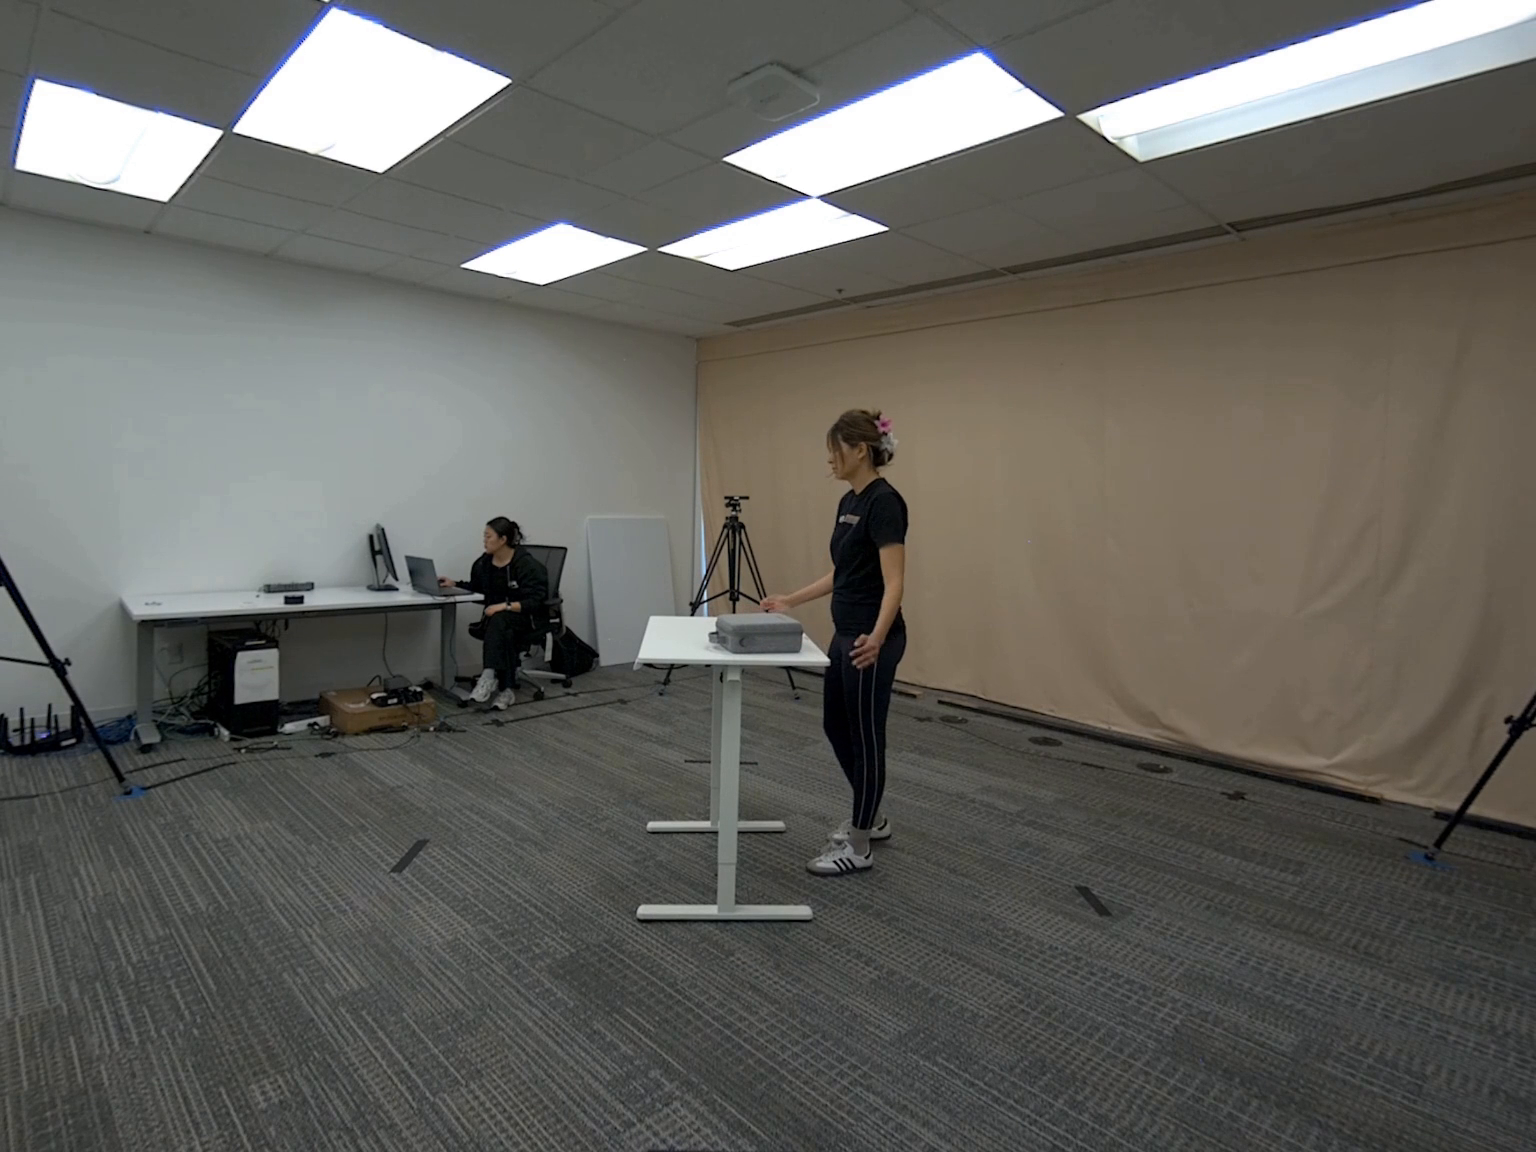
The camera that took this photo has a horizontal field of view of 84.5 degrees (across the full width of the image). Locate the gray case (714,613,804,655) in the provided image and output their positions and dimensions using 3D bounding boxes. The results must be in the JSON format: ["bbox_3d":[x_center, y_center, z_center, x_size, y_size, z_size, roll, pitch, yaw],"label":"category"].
[{"bbox_3d":[-0.048,0.192,2.851,0.258,0.104,0.261,-1,5,-15],"label":"gray case"}]
